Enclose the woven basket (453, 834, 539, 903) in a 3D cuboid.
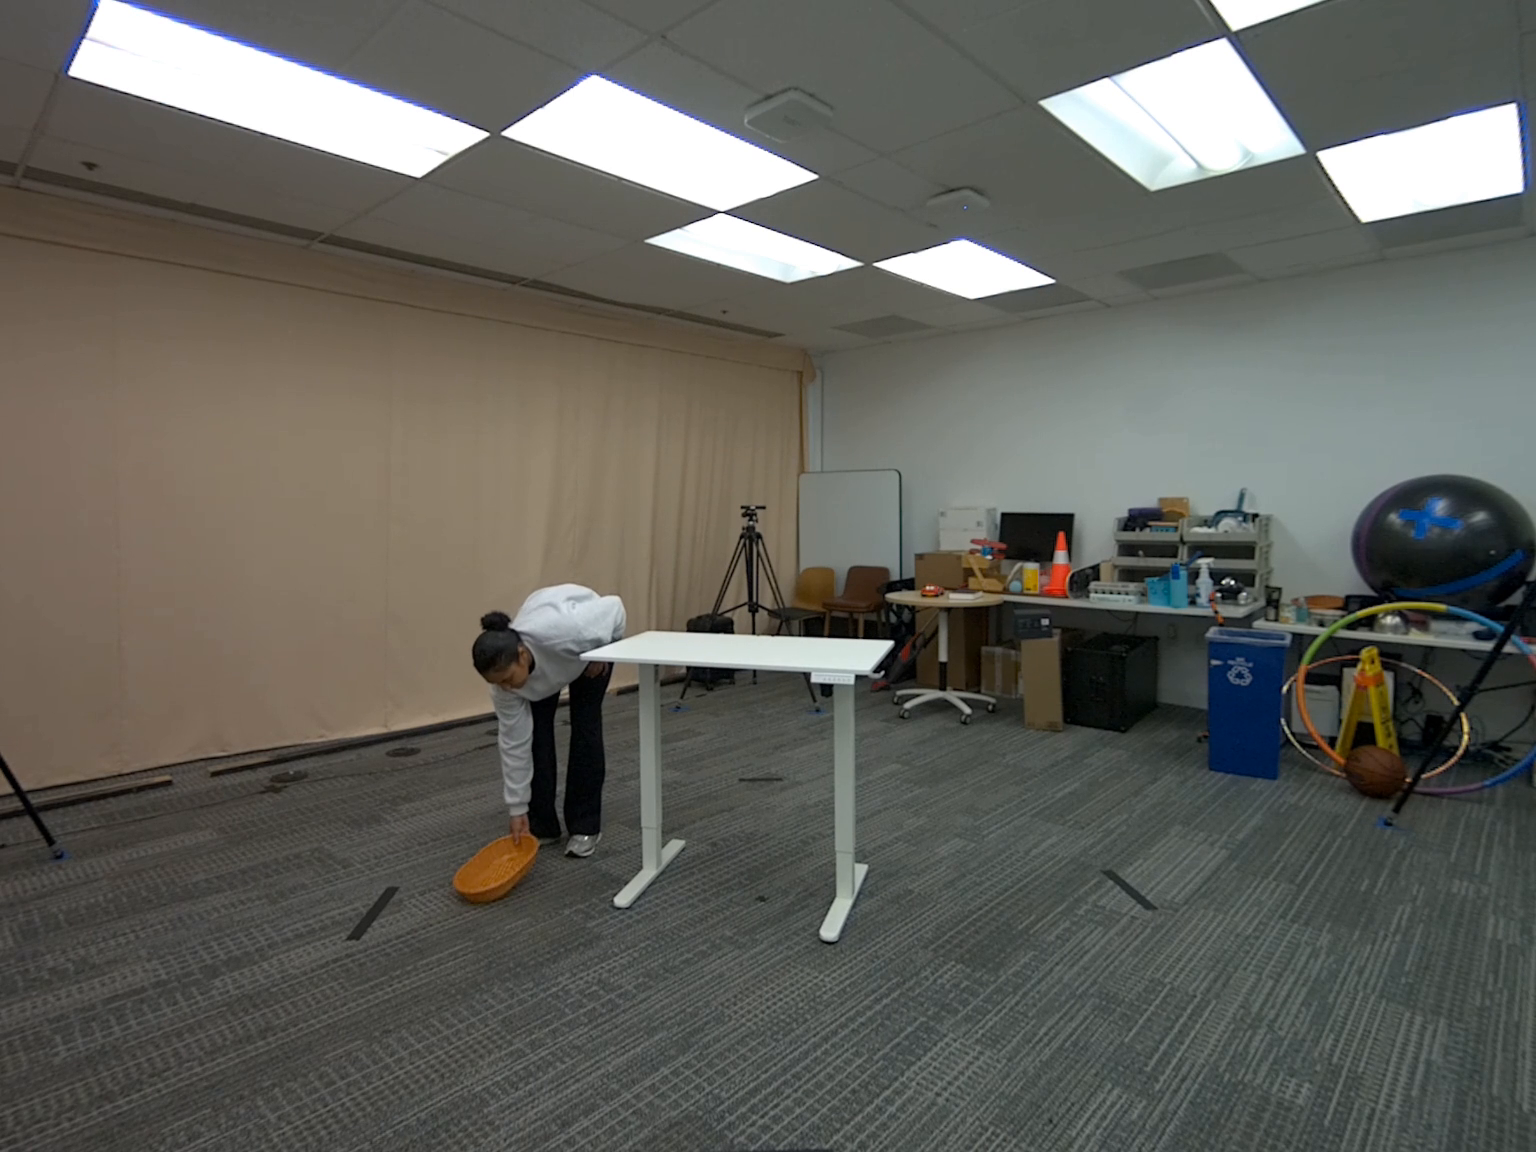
[{"bbox_3d":[-0.999,1.063,3.085,0.259,0.073,0.345,-3,16,25],"label":"woven basket"}]
